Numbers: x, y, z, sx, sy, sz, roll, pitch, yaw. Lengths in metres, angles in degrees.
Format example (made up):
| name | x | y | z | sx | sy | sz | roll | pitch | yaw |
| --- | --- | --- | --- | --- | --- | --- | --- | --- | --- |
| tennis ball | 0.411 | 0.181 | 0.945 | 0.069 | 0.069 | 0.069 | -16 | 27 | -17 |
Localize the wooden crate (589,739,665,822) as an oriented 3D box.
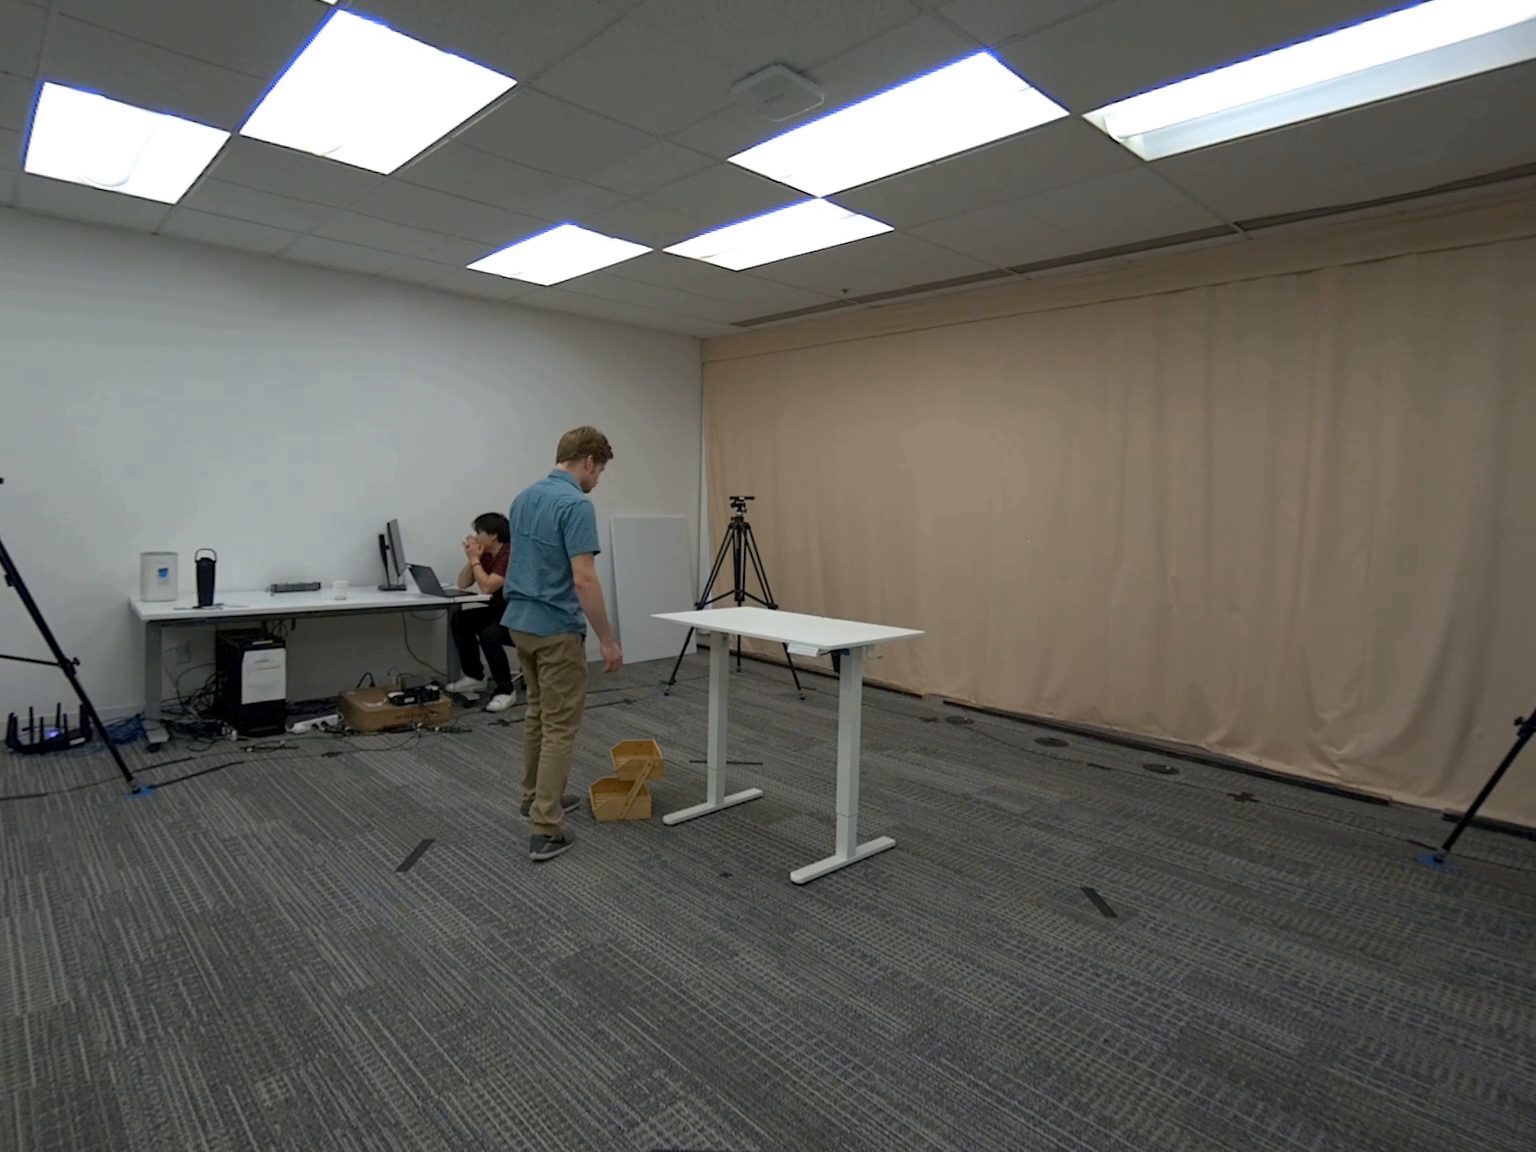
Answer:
| name | x | y | z | sx | sy | sz | roll | pitch | yaw |
| --- | --- | --- | --- | --- | --- | --- | --- | --- | --- |
| wooden crate | -0.653 | 0.902 | 3.765 | 0.298 | 0.272 | 0.329 | 1 | 4 | -15 |
